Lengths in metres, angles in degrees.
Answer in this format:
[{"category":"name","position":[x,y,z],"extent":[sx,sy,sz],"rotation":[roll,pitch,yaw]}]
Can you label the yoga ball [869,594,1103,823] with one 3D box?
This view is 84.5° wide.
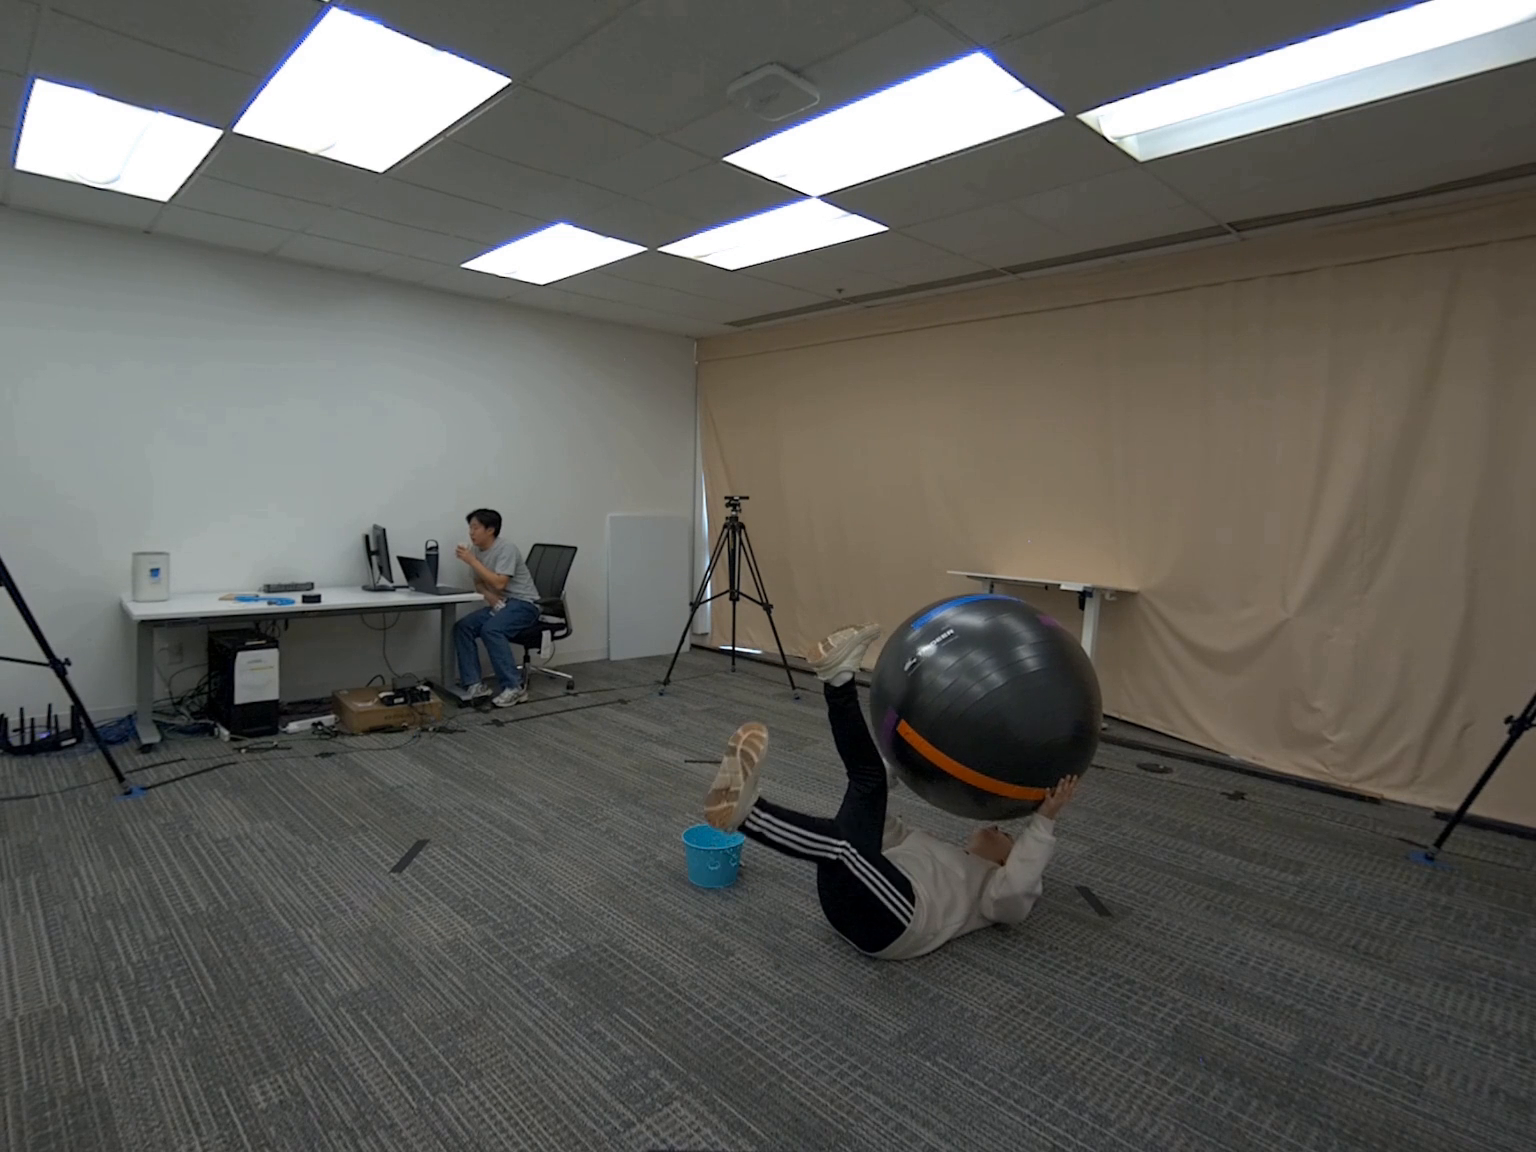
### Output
[{"category":"yoga ball","position":[0.731,0.438,2.877],"extent":[0.757,0.756,0.761],"rotation":[1,4,-1]}]
